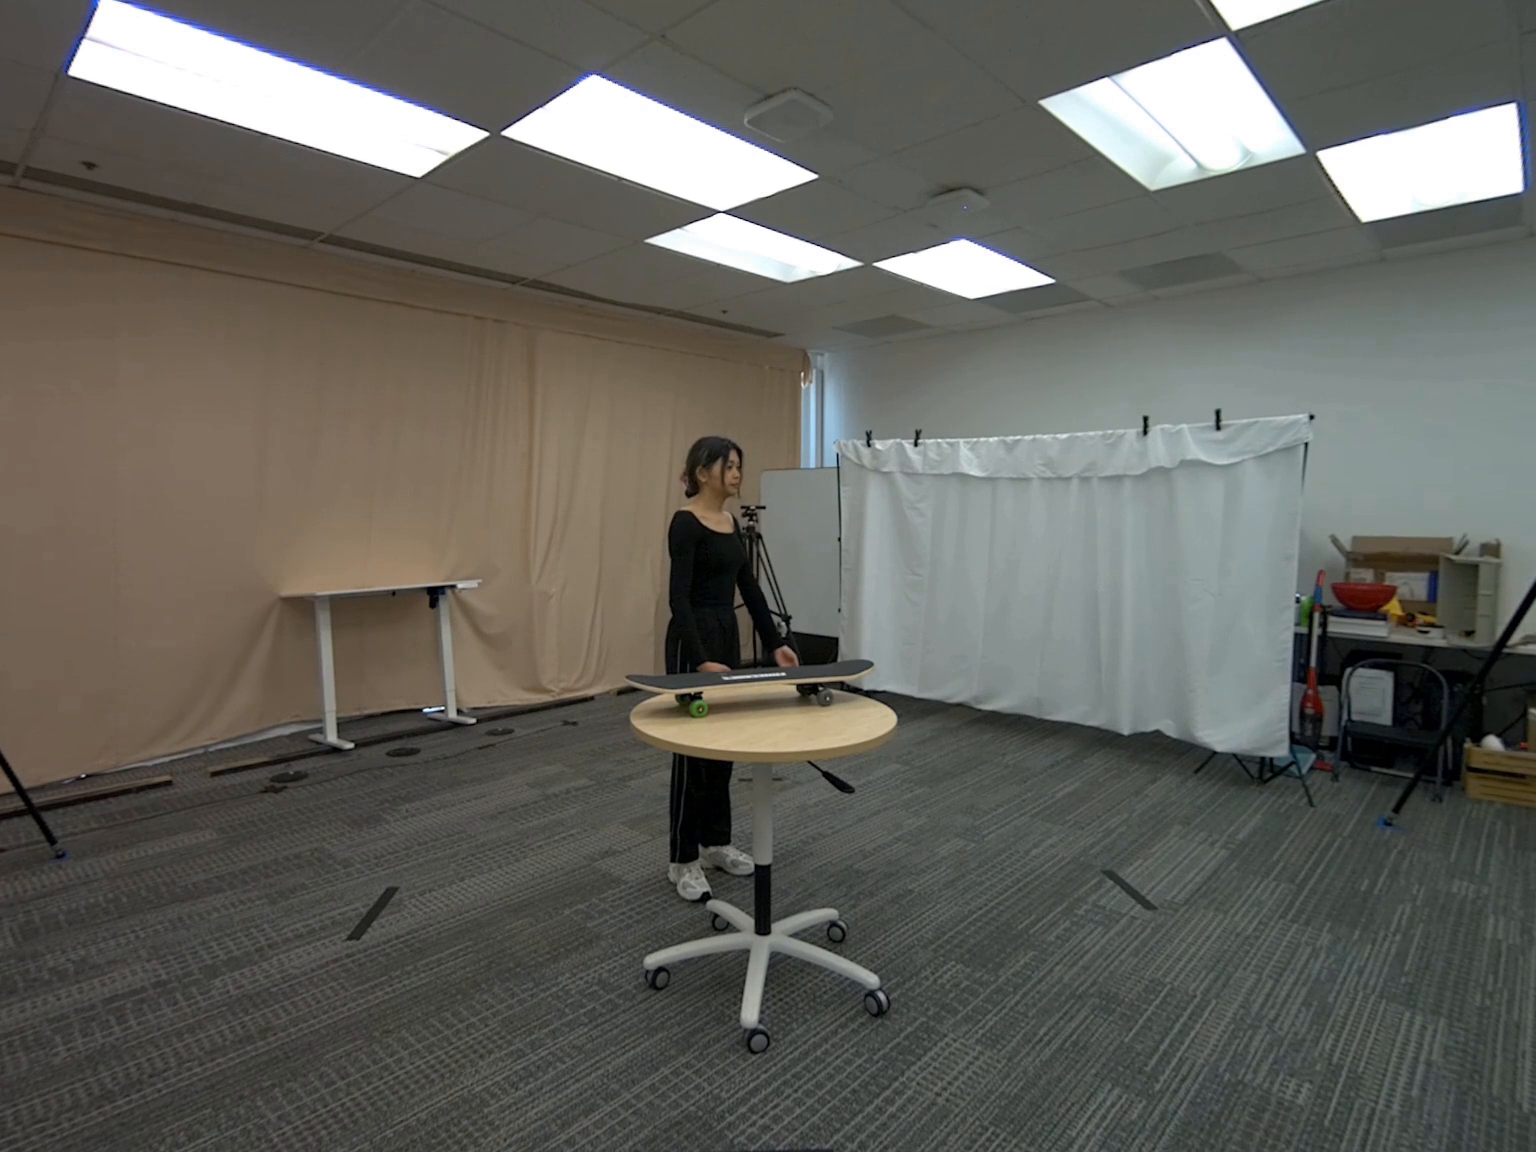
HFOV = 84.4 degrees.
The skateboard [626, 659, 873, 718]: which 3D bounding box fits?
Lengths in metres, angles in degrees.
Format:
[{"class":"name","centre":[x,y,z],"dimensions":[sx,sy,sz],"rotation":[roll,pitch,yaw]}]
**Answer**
[{"class":"skateboard","centre":[-0.037,0.340,2.522],"dimensions":[0.770,0.110,0.198],"rotation":[-2,5,-19]}]
